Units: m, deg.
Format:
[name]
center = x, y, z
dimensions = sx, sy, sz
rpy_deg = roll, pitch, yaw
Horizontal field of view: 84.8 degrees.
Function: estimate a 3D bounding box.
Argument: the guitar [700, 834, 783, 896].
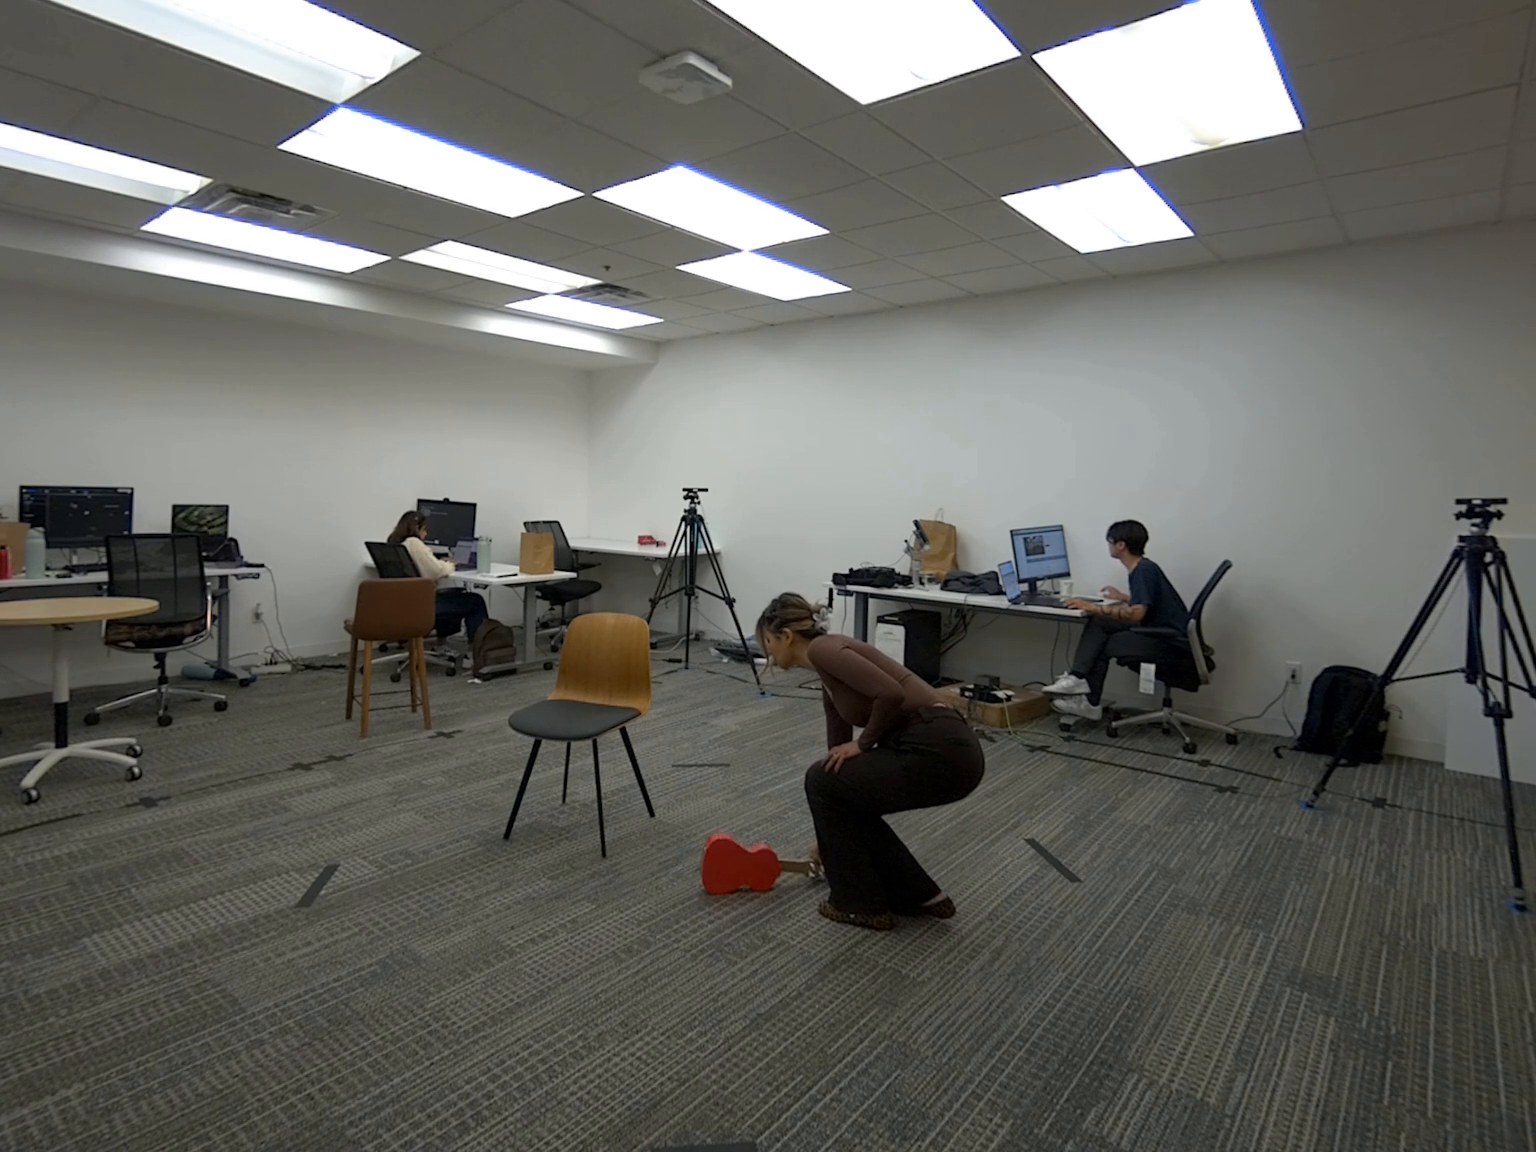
[guitar]
center = 0.004, 0.988, 2.974
dimensions = 0.492, 0.193, 0.071
rpy_deg = -2, 1, -11
